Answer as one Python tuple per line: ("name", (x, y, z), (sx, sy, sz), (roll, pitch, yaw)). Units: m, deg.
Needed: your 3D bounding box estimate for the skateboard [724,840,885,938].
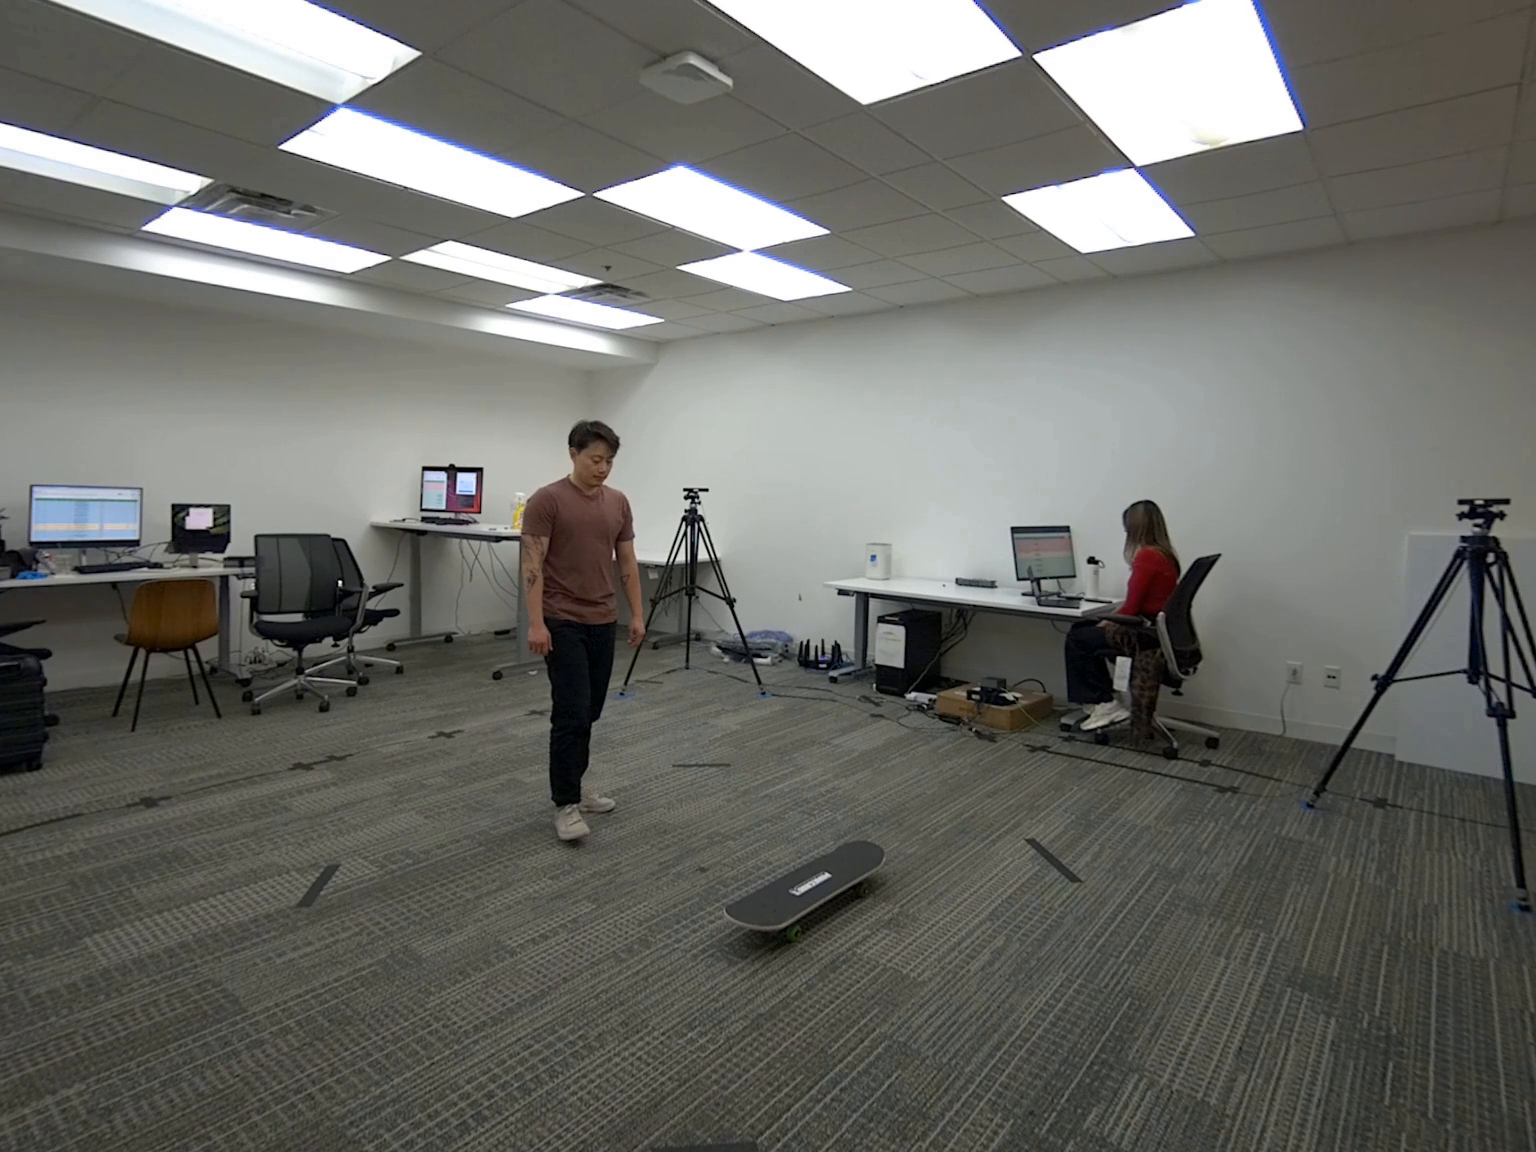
("skateboard", (0.142, 1.051, 2.822), (0.200, 0.110, 0.762), (7, 8, 39))
